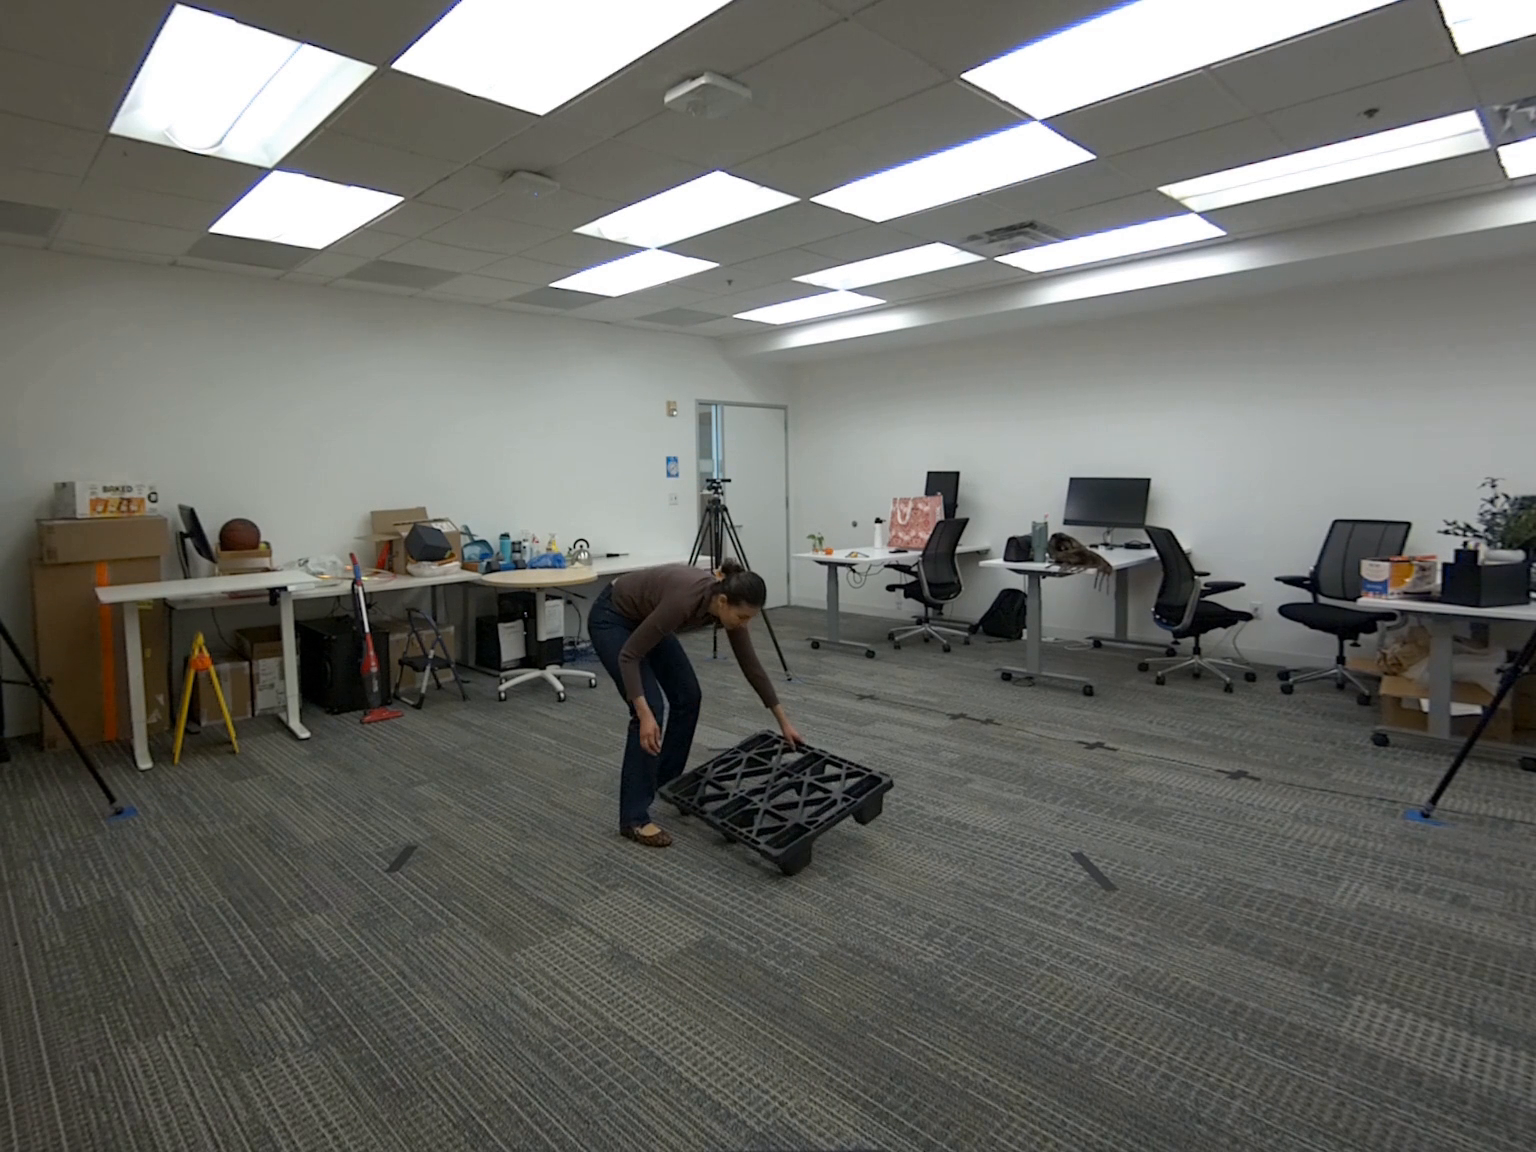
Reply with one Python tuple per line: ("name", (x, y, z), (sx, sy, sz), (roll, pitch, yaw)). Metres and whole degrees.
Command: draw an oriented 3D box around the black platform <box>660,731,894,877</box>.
("black platform", (0.020, 0.888, 3.403), (0.596, 0.141, 0.830), (-24, 18, -33))
